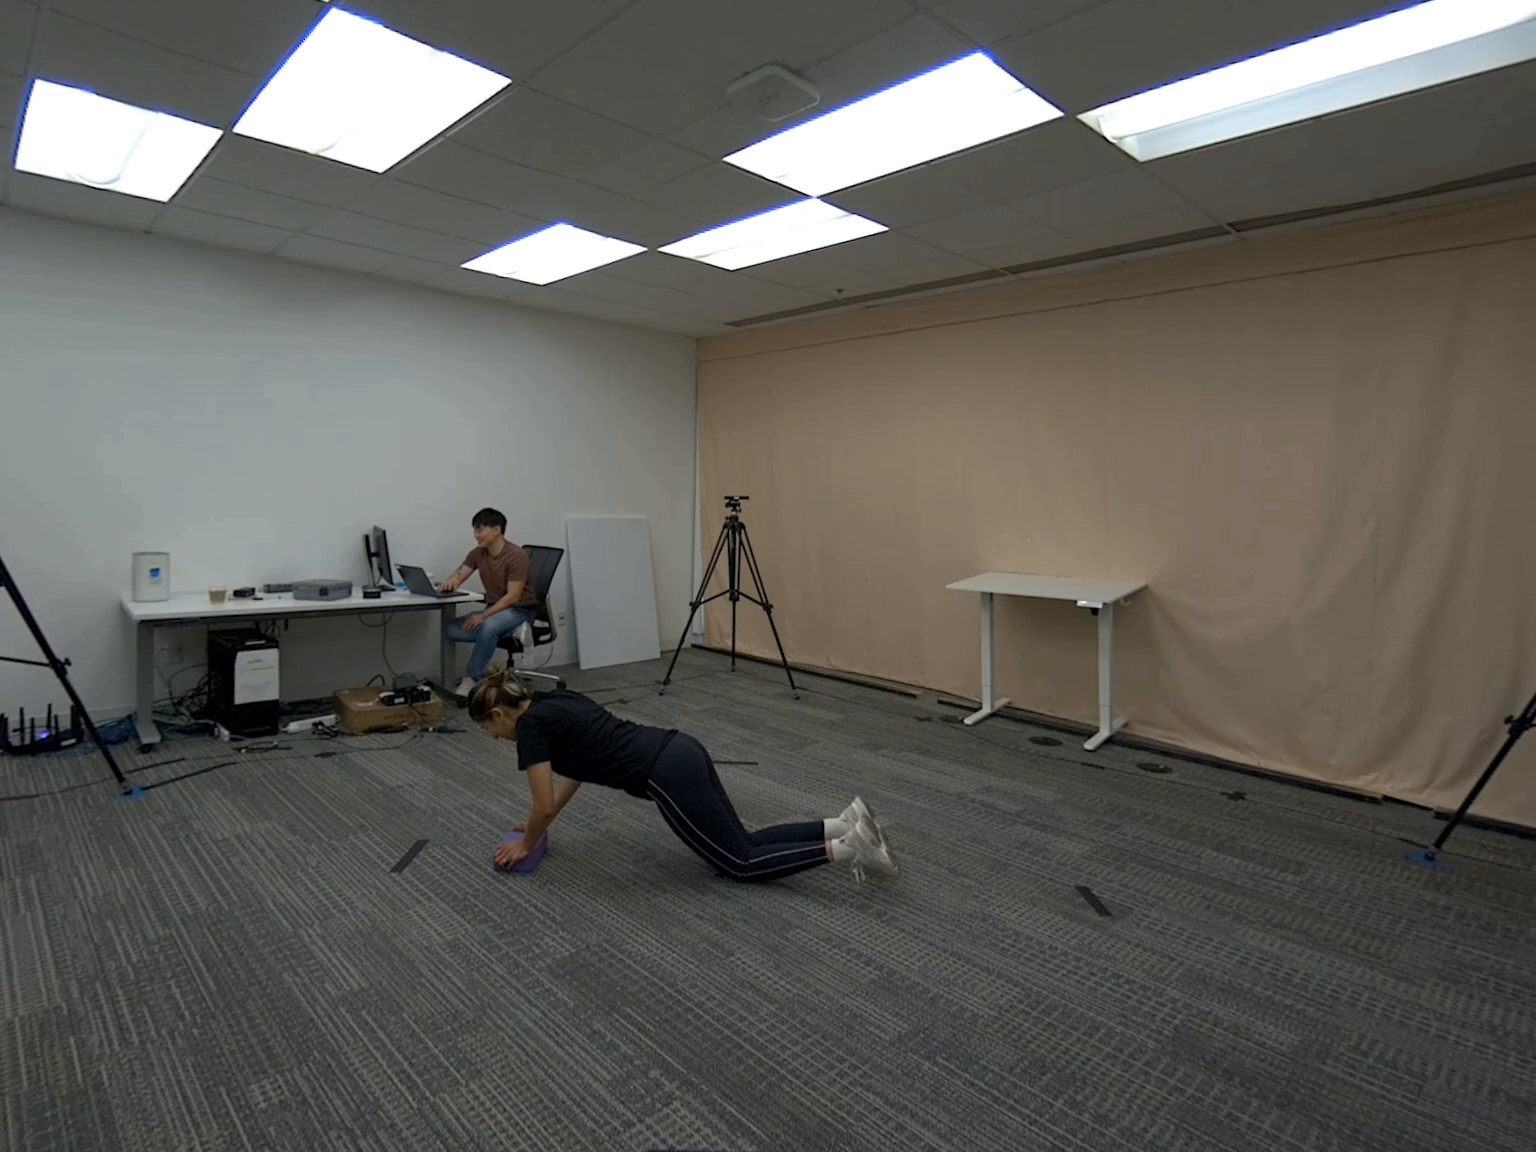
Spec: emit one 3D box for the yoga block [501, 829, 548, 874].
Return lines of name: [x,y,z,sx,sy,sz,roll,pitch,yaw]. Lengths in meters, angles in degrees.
yoga block: [-0.938,1.035,3.205,0.149,0.076,0.229,1,4,1]
